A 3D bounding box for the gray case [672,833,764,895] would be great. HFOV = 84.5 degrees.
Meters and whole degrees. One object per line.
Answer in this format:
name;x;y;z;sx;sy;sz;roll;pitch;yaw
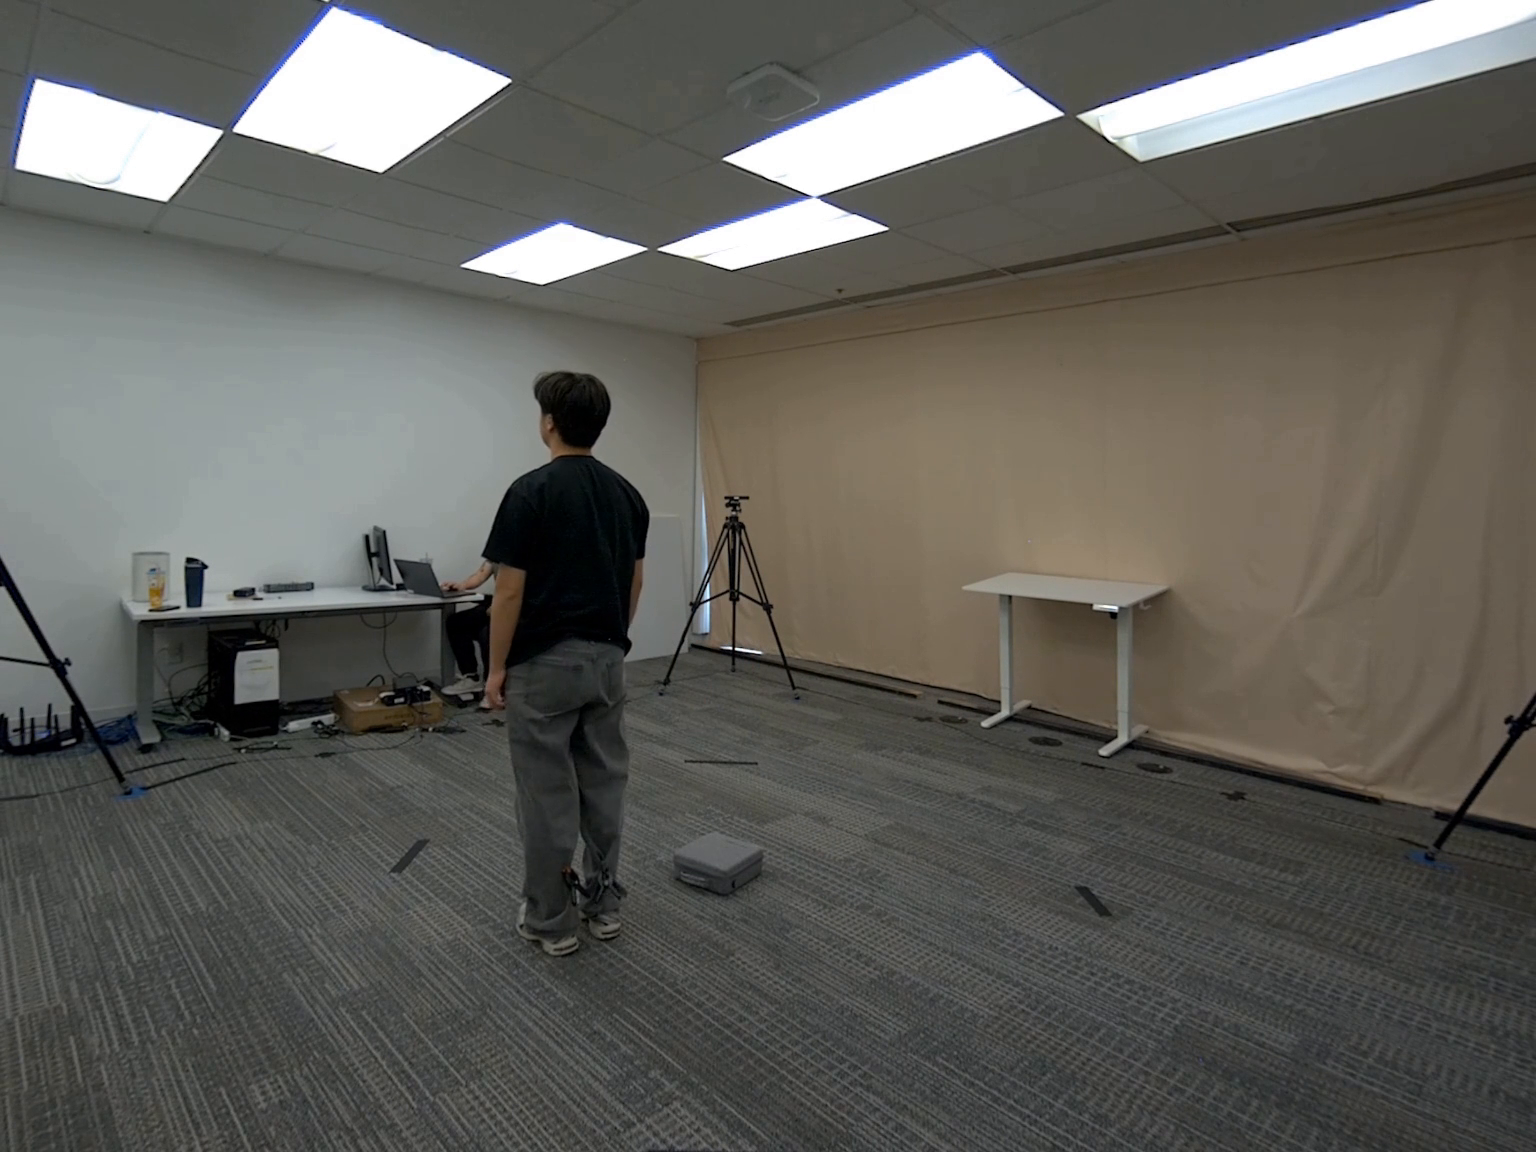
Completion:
gray case;-0.192;1.051;3.080;0.269;0.103;0.281;4;7;34
